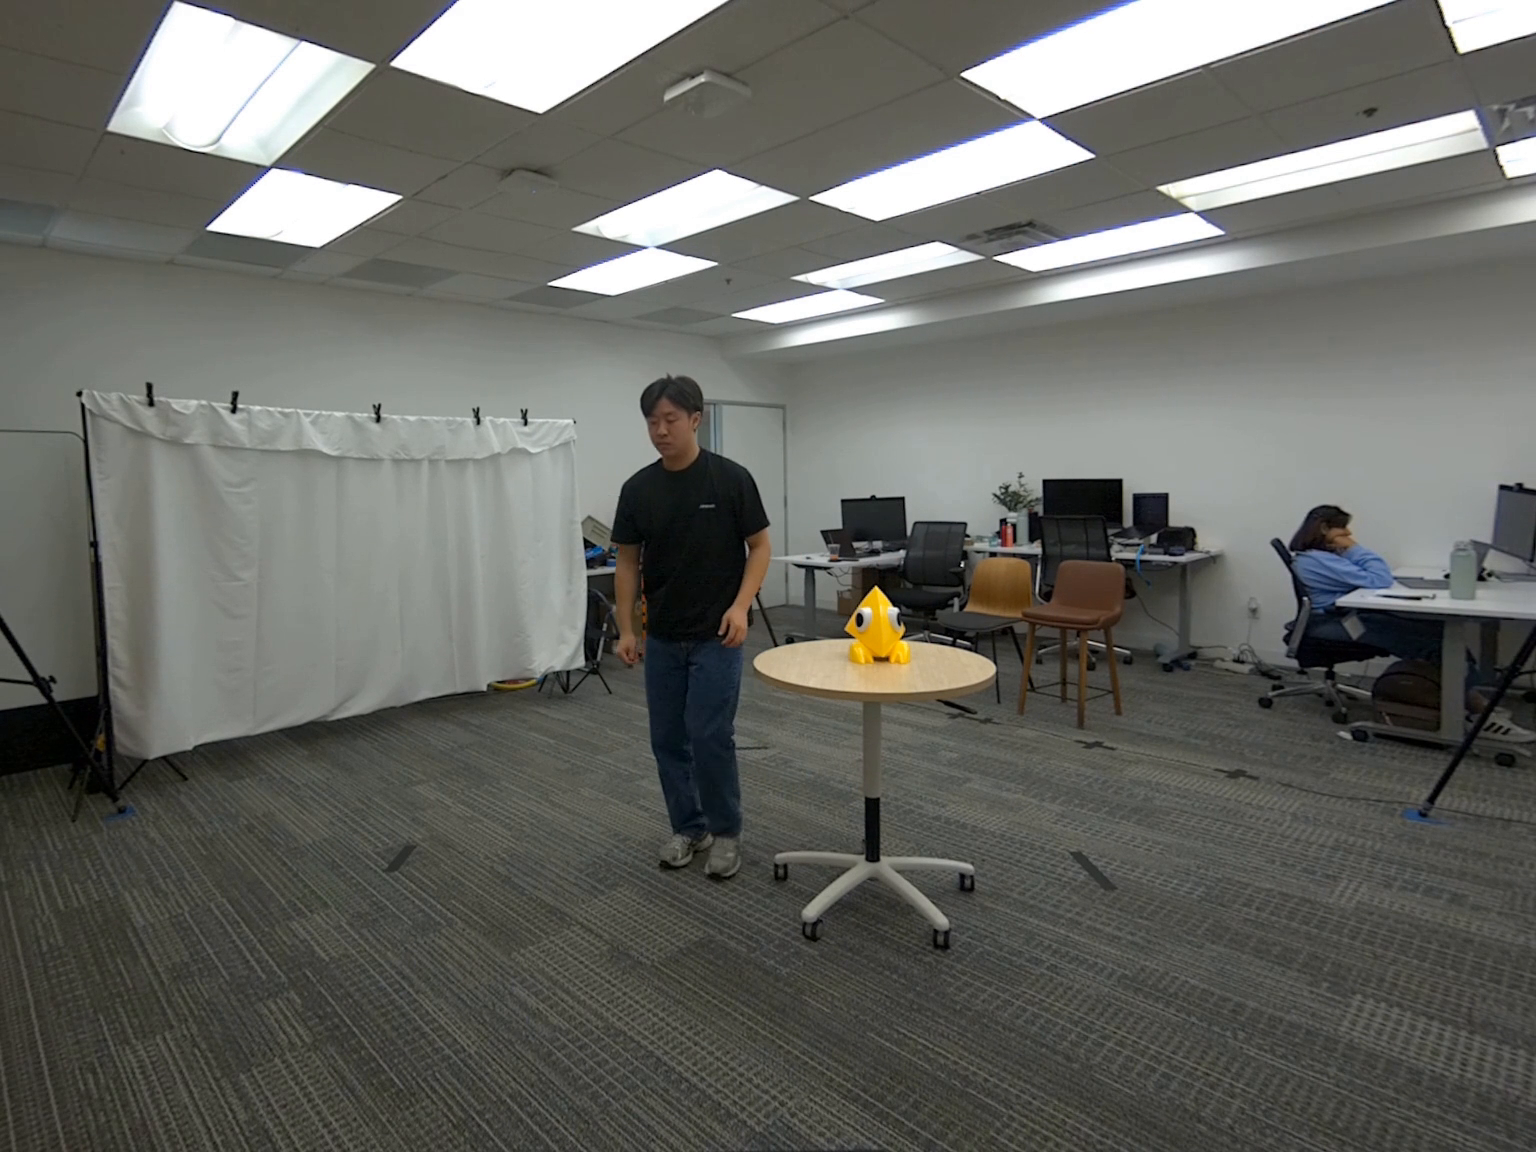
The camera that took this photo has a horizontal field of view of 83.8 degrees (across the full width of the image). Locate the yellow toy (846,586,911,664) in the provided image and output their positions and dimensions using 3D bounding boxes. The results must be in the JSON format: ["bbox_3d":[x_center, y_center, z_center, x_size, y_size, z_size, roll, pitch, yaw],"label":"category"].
[{"bbox_3d":[0.371,0.155,2.807,0.205,0.230,0.193,-1,4,1],"label":"yellow toy"}]
